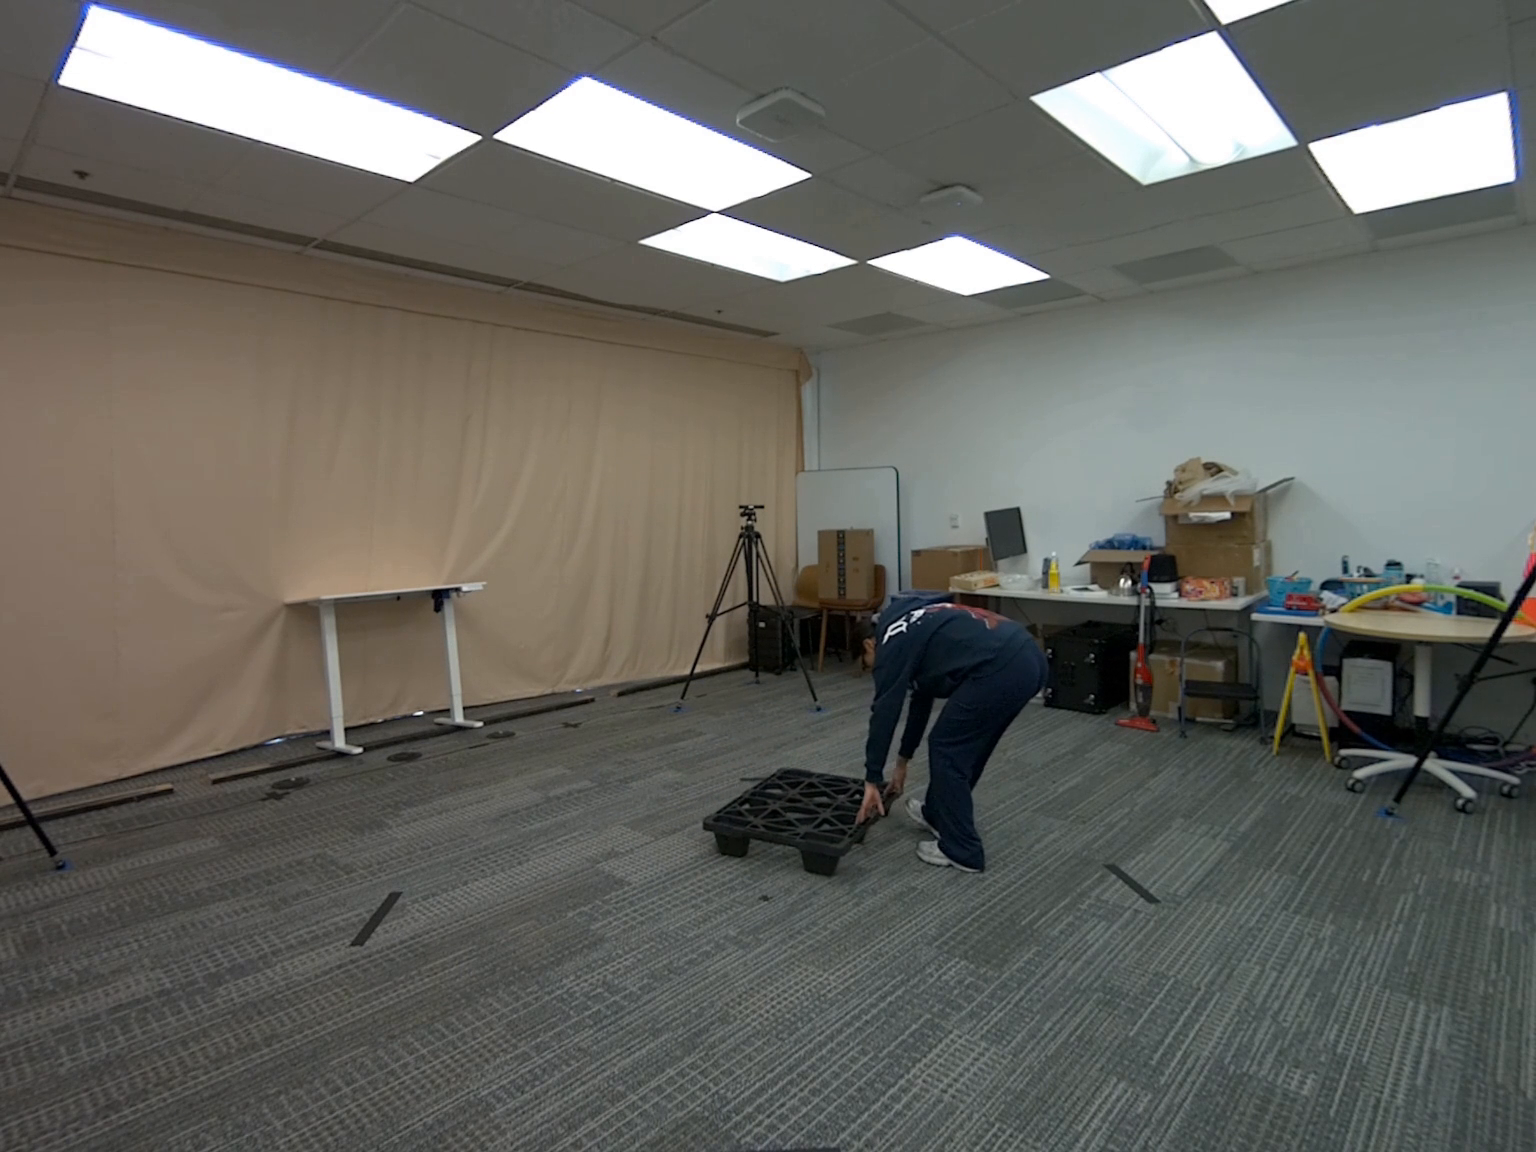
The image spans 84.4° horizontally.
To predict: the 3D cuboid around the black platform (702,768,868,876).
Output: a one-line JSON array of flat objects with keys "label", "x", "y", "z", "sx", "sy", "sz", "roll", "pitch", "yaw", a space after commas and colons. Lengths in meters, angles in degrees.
[{"label": "black platform", "x": 0.178, "y": 1.020, "z": 3.566, "sx": 0.621, "sy": 0.143, "sz": 0.786, "roll": 2, "pitch": 6, "yaw": 27}]
